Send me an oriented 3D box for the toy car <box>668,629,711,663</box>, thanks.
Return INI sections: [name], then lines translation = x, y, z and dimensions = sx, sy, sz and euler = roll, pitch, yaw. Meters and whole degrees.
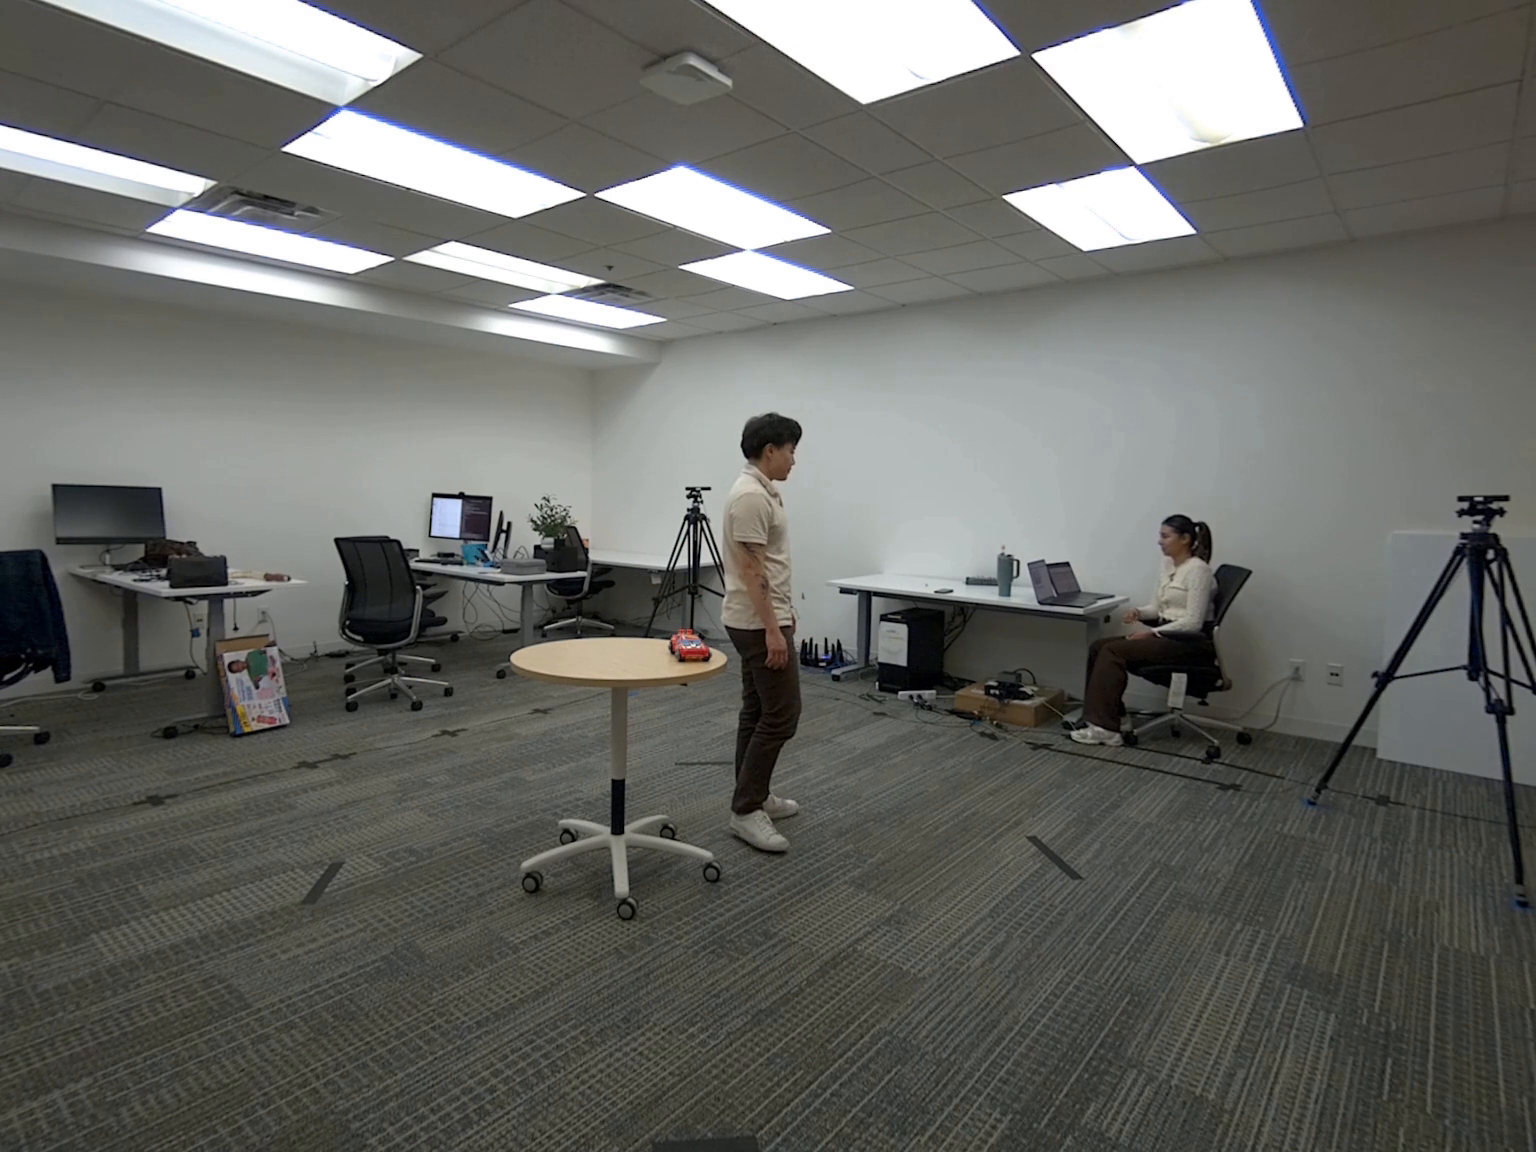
[toy car]
translation = -0.299, 0.254, 3.068
dimensions = 0.128, 0.082, 0.261
euler = 1, 16, -14
